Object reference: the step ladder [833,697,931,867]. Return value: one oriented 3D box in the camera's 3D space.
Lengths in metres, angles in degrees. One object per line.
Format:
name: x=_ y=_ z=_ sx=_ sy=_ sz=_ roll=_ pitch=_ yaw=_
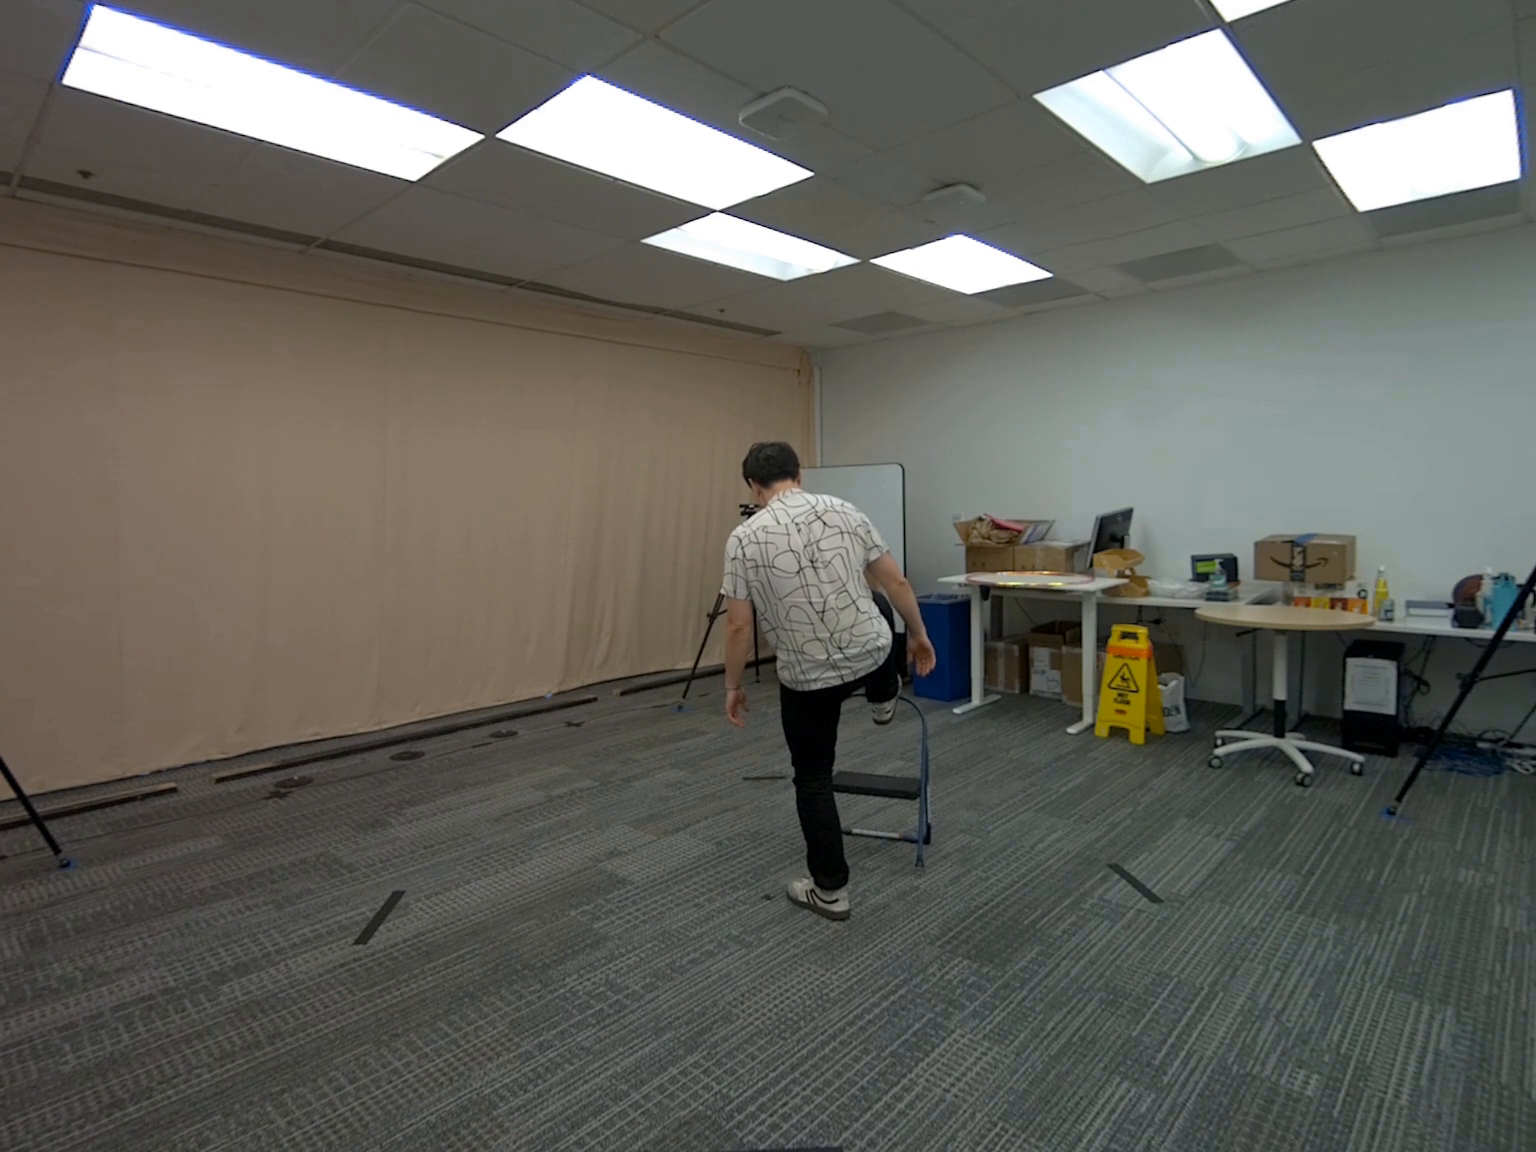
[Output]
step ladder: x=0.433 y=0.784 z=3.365 sx=0.439 sy=0.607 sz=0.342 roll=1 pitch=-2 yaw=18
